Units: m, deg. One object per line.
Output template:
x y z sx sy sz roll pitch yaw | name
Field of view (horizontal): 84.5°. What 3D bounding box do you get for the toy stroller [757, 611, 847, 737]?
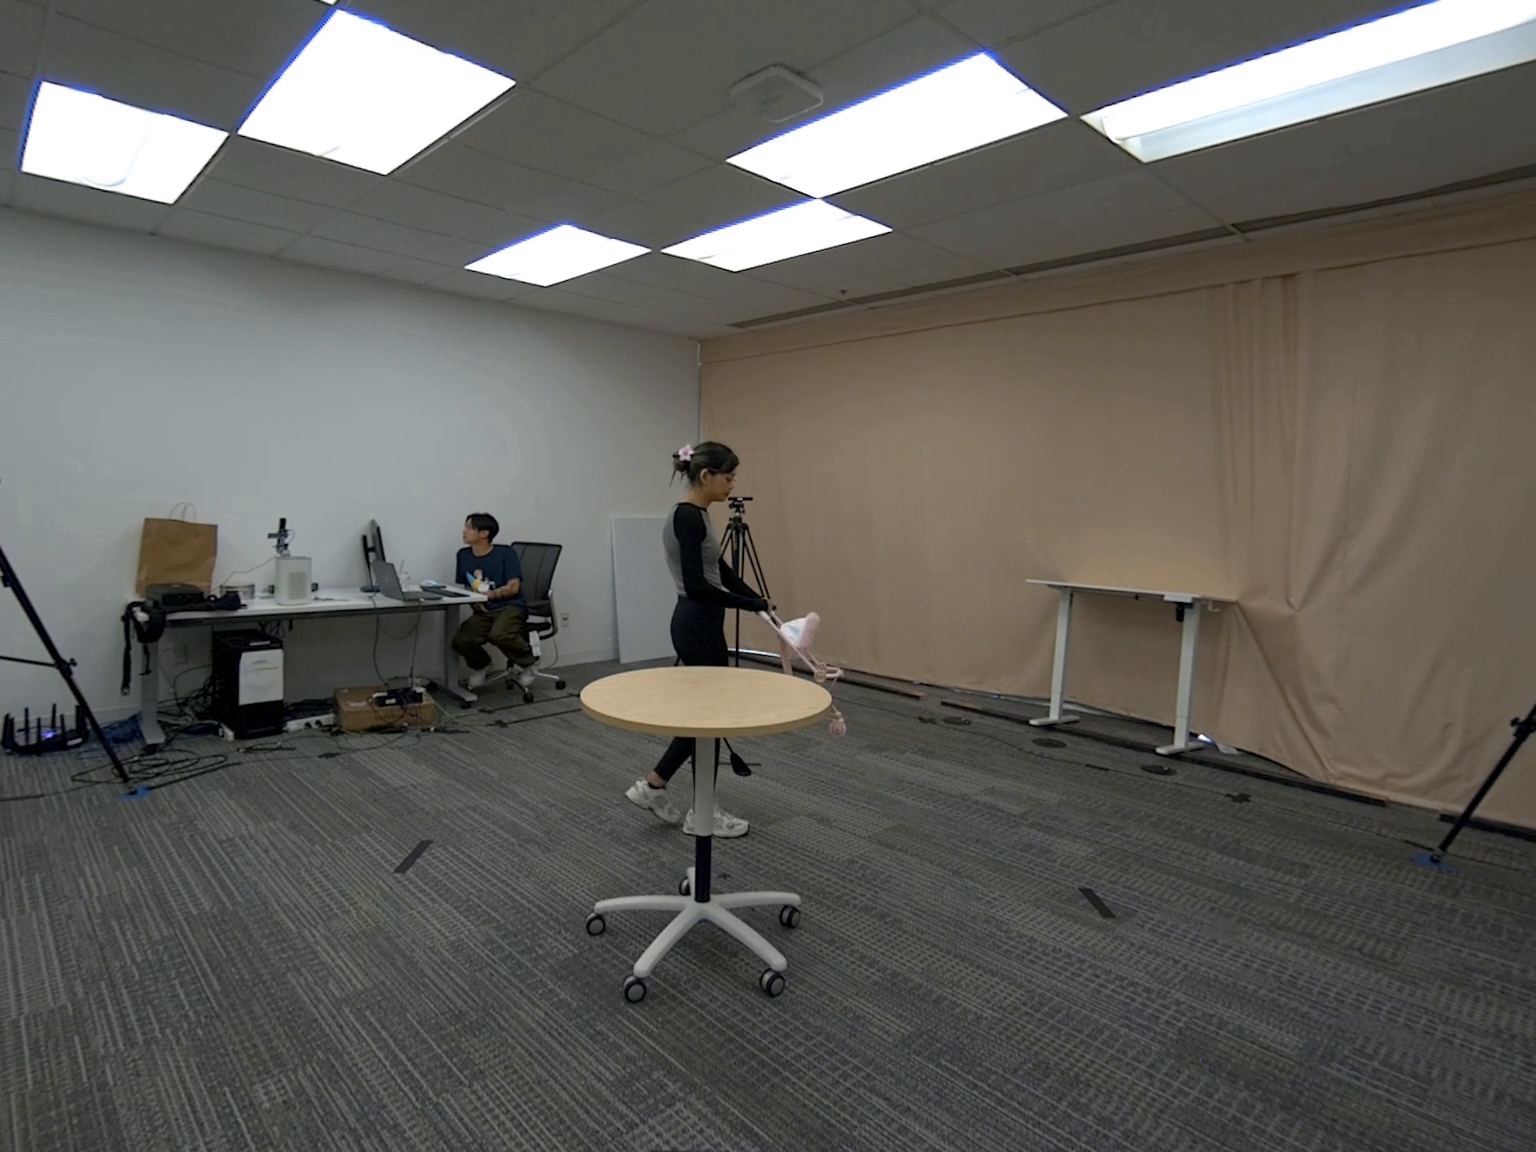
0.136 0.382 3.371 0.345 0.535 0.278 -1 0 13 | toy stroller
